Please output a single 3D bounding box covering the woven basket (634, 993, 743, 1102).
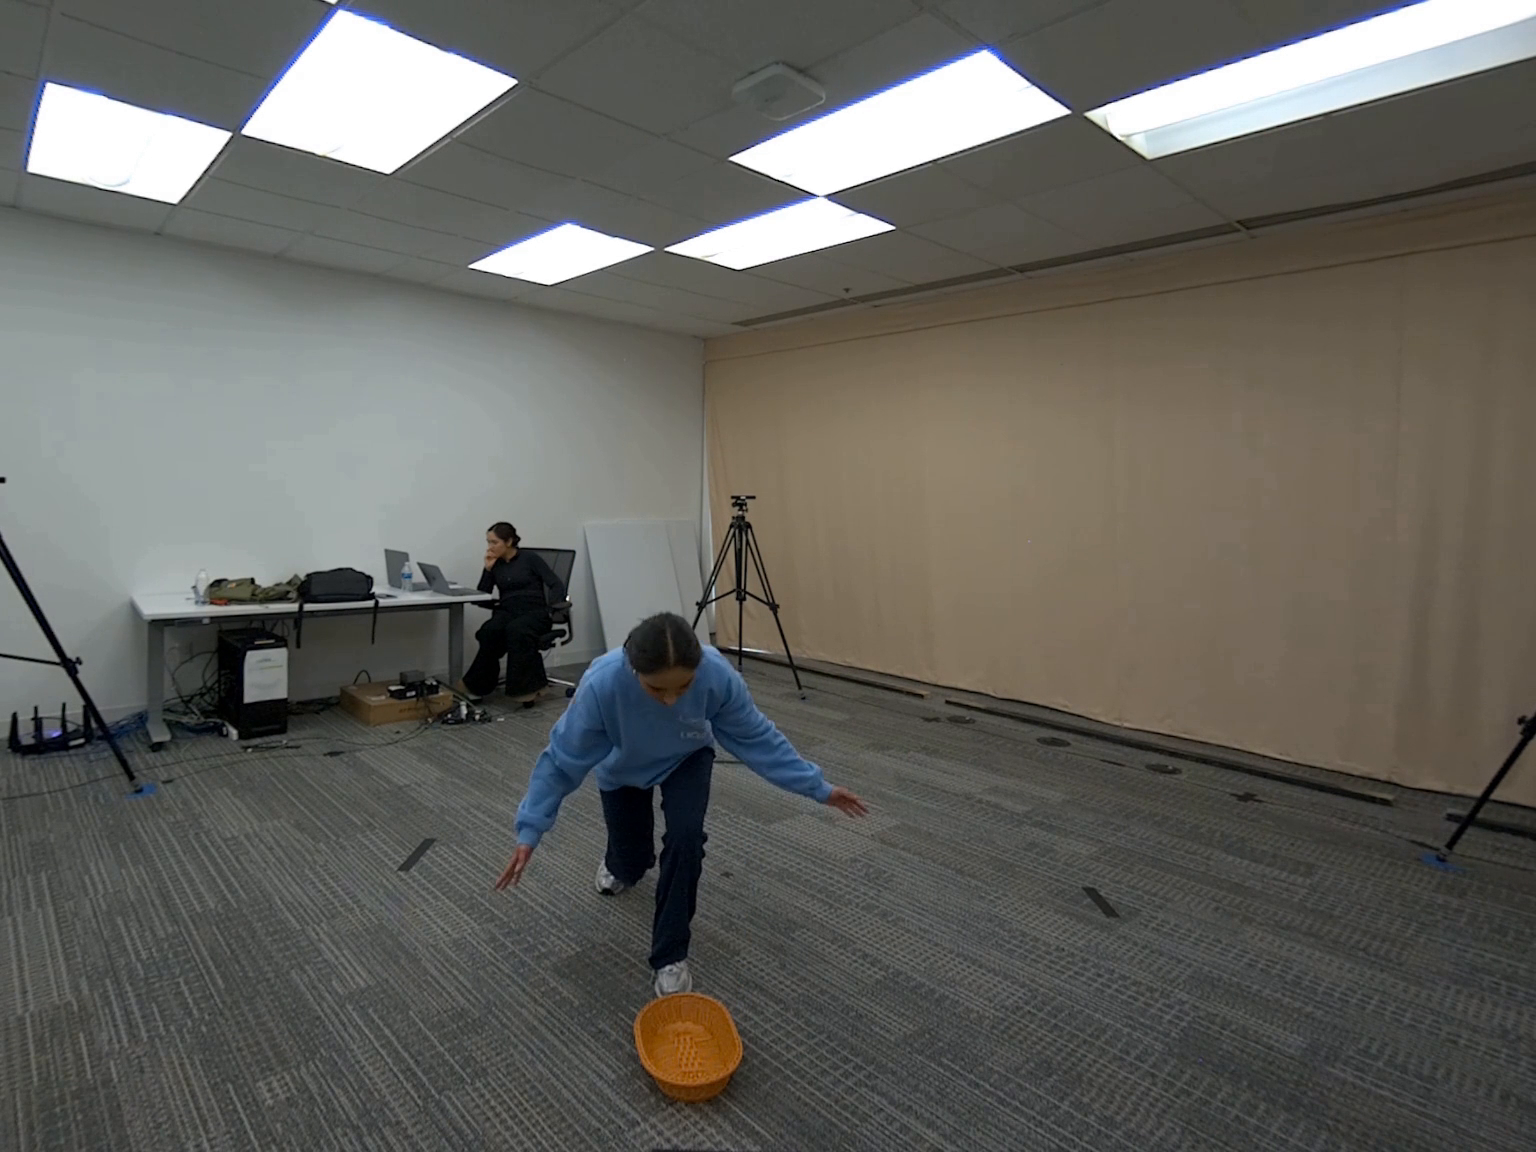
[{"bbox_3d":[-0.212,1.163,2.066,0.250,0.073,0.355,-1,6,-12],"label":"woven basket"}]
